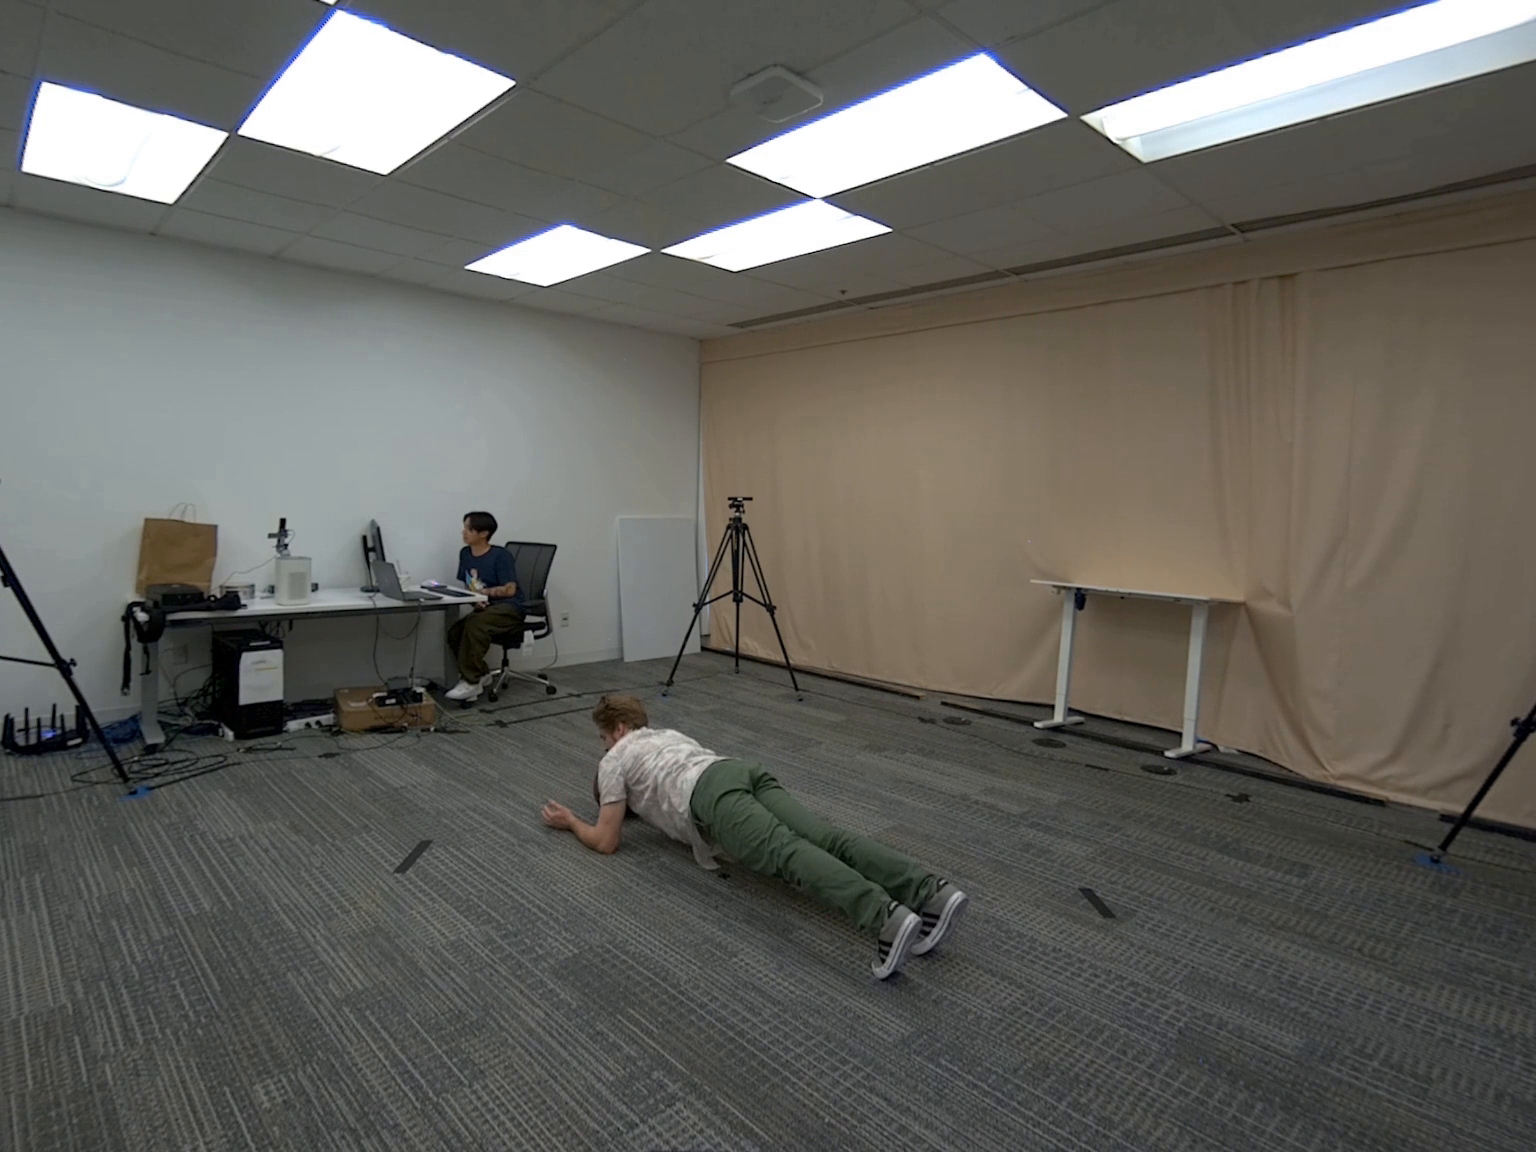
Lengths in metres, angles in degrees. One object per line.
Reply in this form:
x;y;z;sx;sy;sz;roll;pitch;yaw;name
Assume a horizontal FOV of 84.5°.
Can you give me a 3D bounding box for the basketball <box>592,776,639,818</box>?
-0.648;0.925;3.687;0.236;0.235;0.237;1;4;-1;basketball
